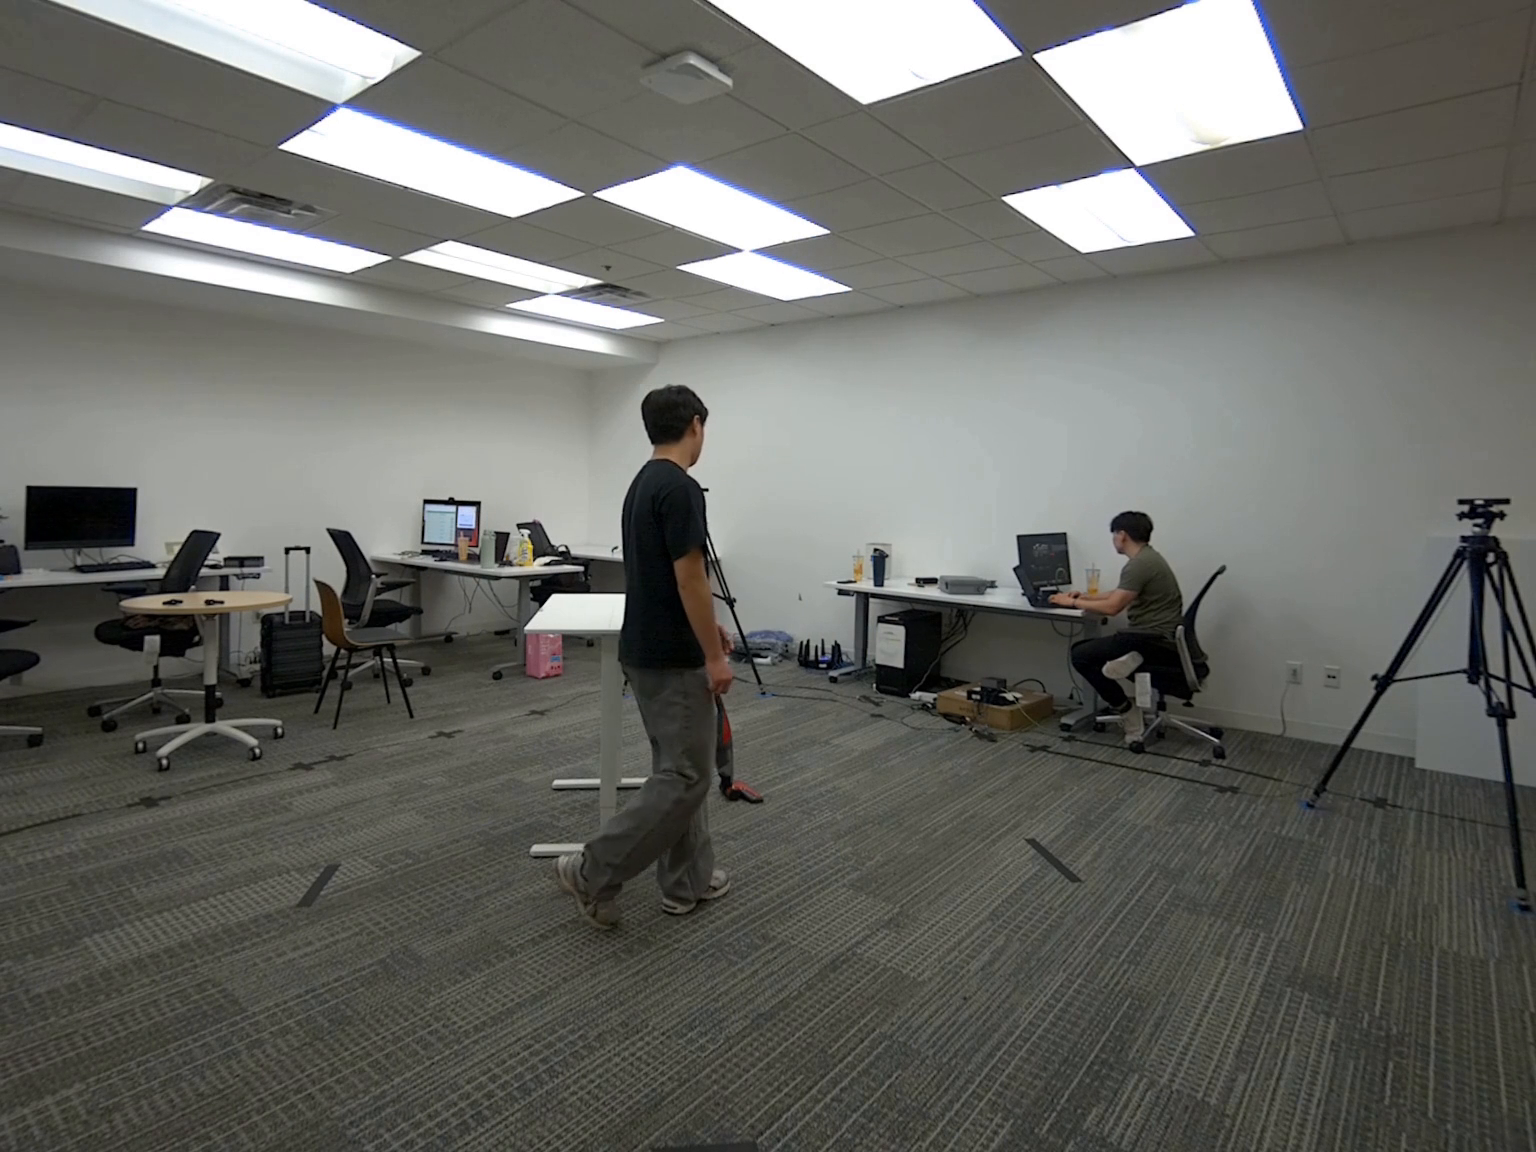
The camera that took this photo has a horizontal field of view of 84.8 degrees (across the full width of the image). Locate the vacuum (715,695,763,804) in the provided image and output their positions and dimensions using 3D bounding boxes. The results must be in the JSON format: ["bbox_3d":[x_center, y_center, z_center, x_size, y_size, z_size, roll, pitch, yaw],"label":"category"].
[{"bbox_3d":[-0.283,0.507,3.796,0.142,1.037,0.259,-20,10,-24],"label":"vacuum"}]
